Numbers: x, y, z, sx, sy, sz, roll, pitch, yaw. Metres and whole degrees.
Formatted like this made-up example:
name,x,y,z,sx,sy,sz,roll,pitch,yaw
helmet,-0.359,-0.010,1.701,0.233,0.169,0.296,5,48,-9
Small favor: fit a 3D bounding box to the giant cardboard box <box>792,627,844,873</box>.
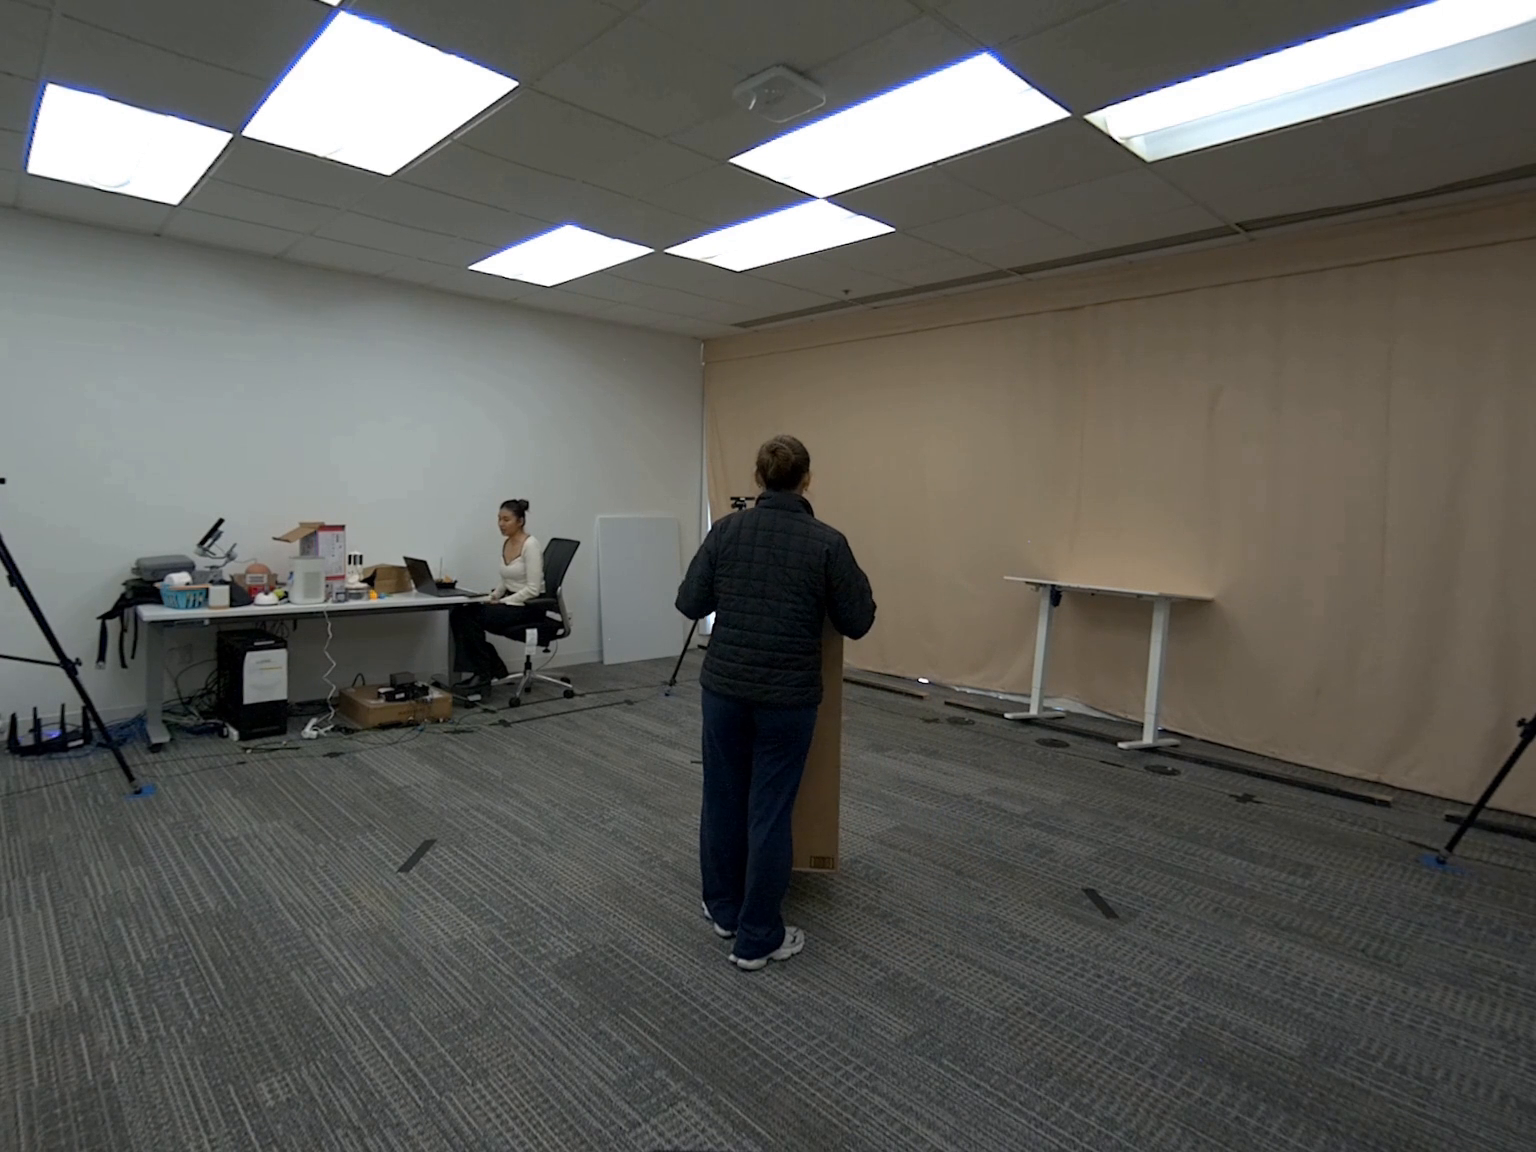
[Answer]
name,x,y,z,sx,sy,sz,roll,pitch,yaw
giant cardboard box,0.044,0.460,3.023,0.428,1.027,0.574,2,-1,5
